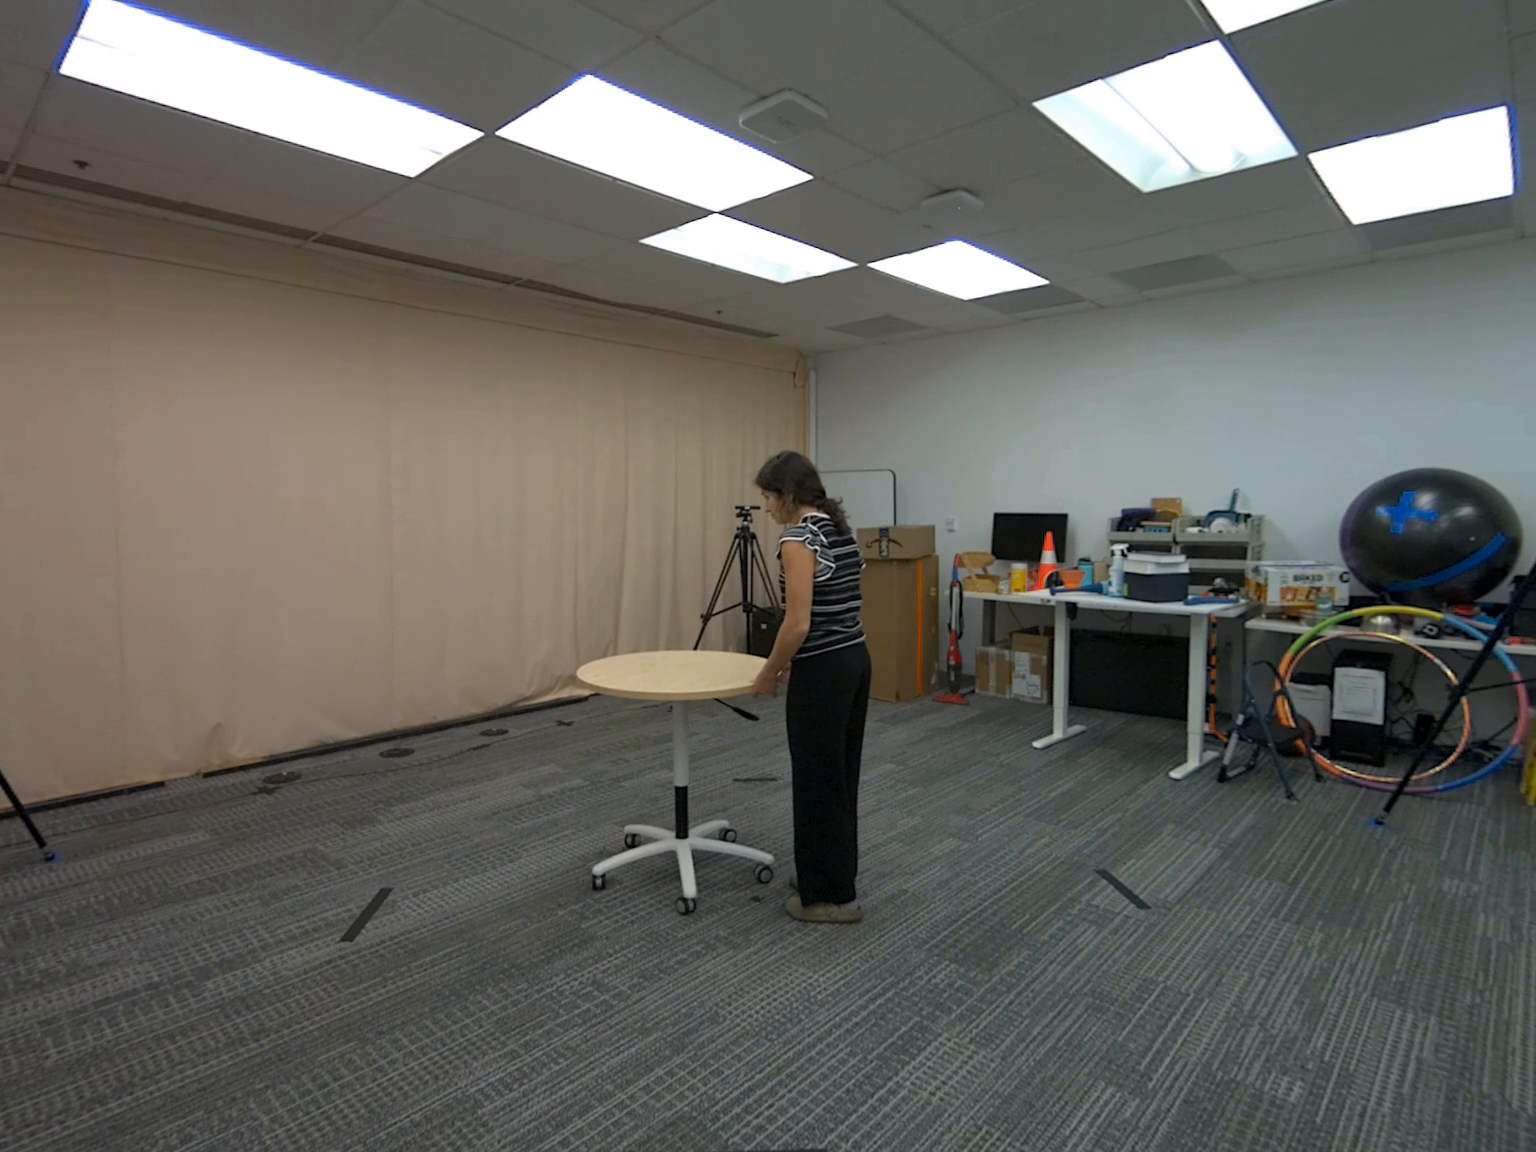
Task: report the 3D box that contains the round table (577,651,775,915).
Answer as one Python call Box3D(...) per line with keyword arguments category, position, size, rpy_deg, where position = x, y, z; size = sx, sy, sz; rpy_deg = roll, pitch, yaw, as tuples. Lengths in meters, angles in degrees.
Box3D(category="round table", position=(-0.314, 0.736, 3.171), size=(0.784, 0.784, 0.788), rpy_deg=(-1, 4, -2))
